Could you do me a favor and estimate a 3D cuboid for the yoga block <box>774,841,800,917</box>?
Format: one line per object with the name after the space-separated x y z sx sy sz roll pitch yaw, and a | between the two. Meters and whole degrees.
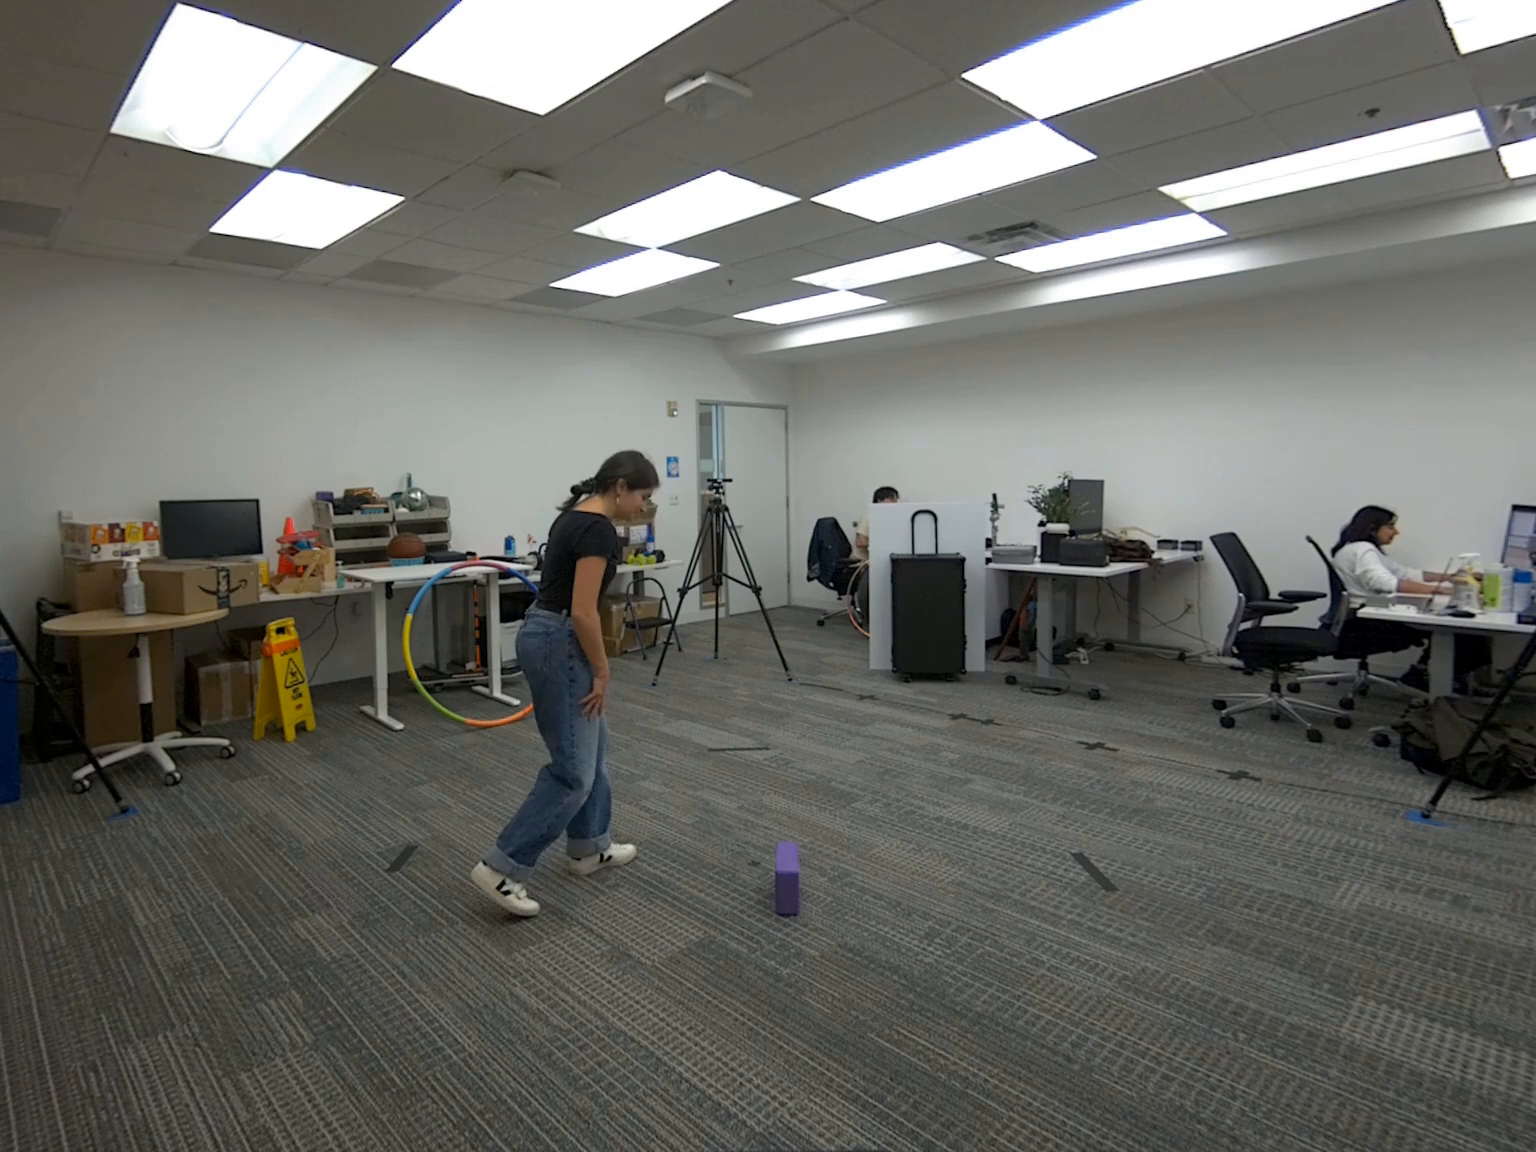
0.062 0.997 2.832 0.076 0.148 0.230 1 5 1 | yoga block
